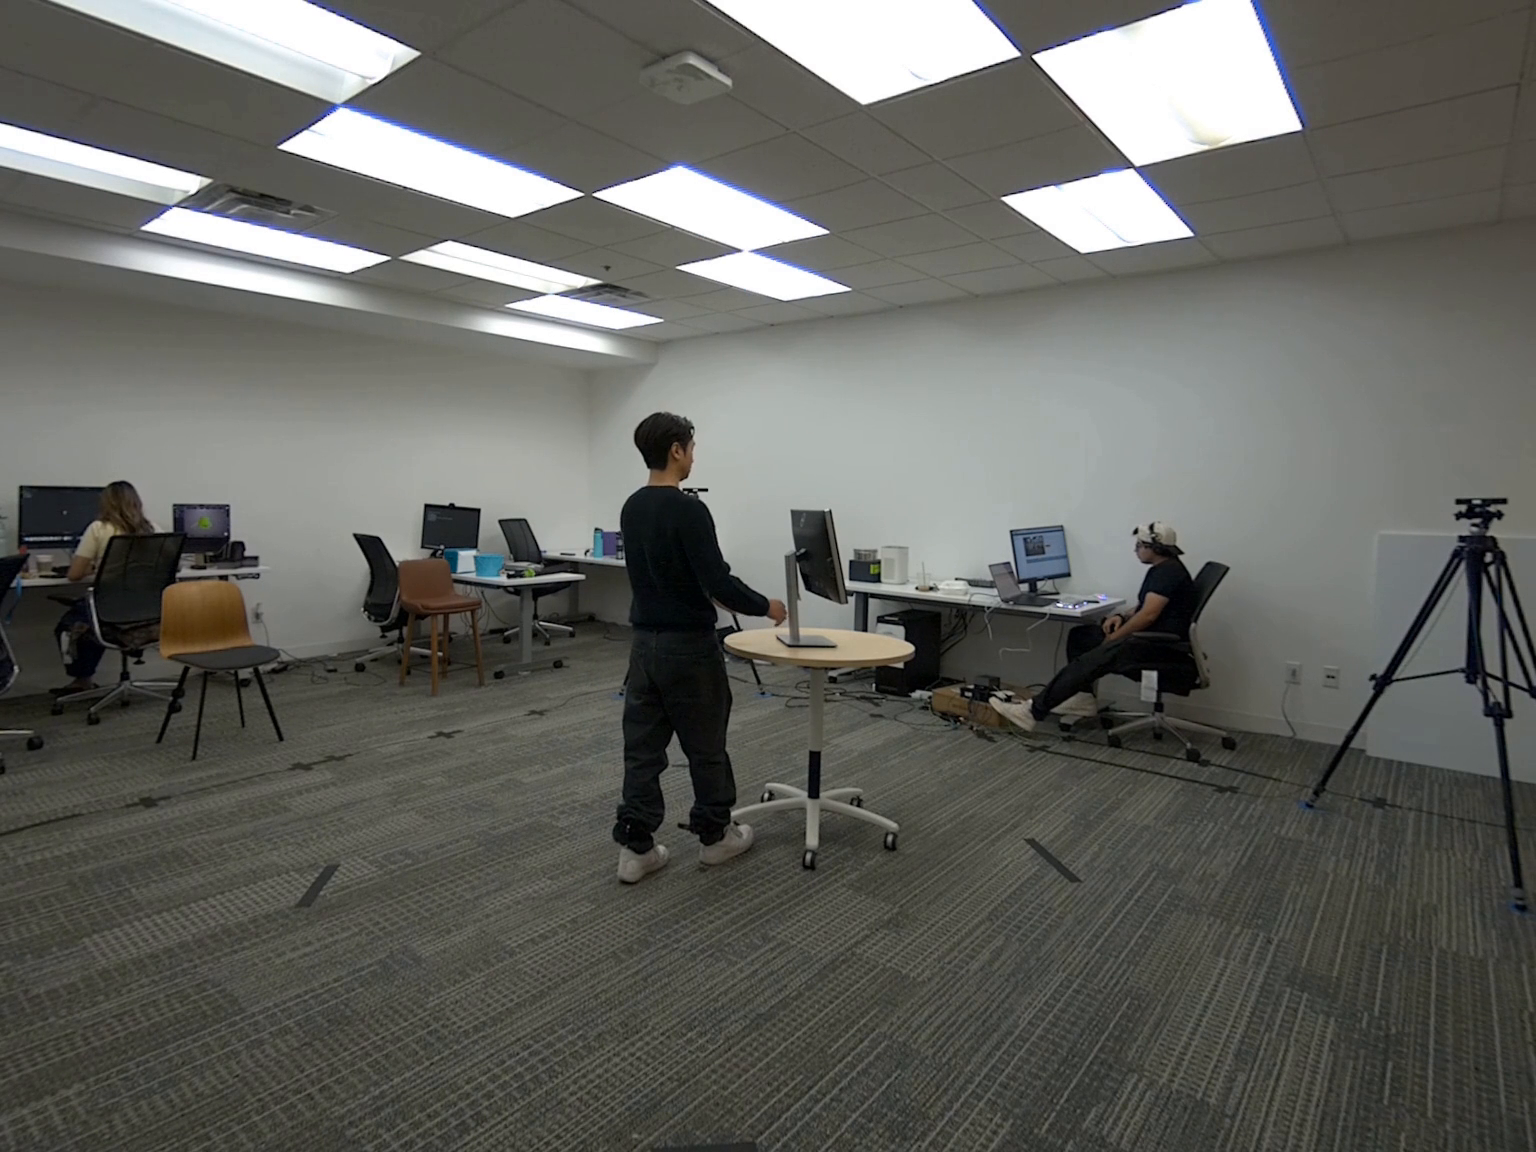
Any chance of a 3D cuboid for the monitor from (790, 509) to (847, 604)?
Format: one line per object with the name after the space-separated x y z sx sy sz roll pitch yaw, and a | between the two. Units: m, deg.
0.159 0.001 3.434 0.172 0.515 0.538 5 2 -13 | monitor
